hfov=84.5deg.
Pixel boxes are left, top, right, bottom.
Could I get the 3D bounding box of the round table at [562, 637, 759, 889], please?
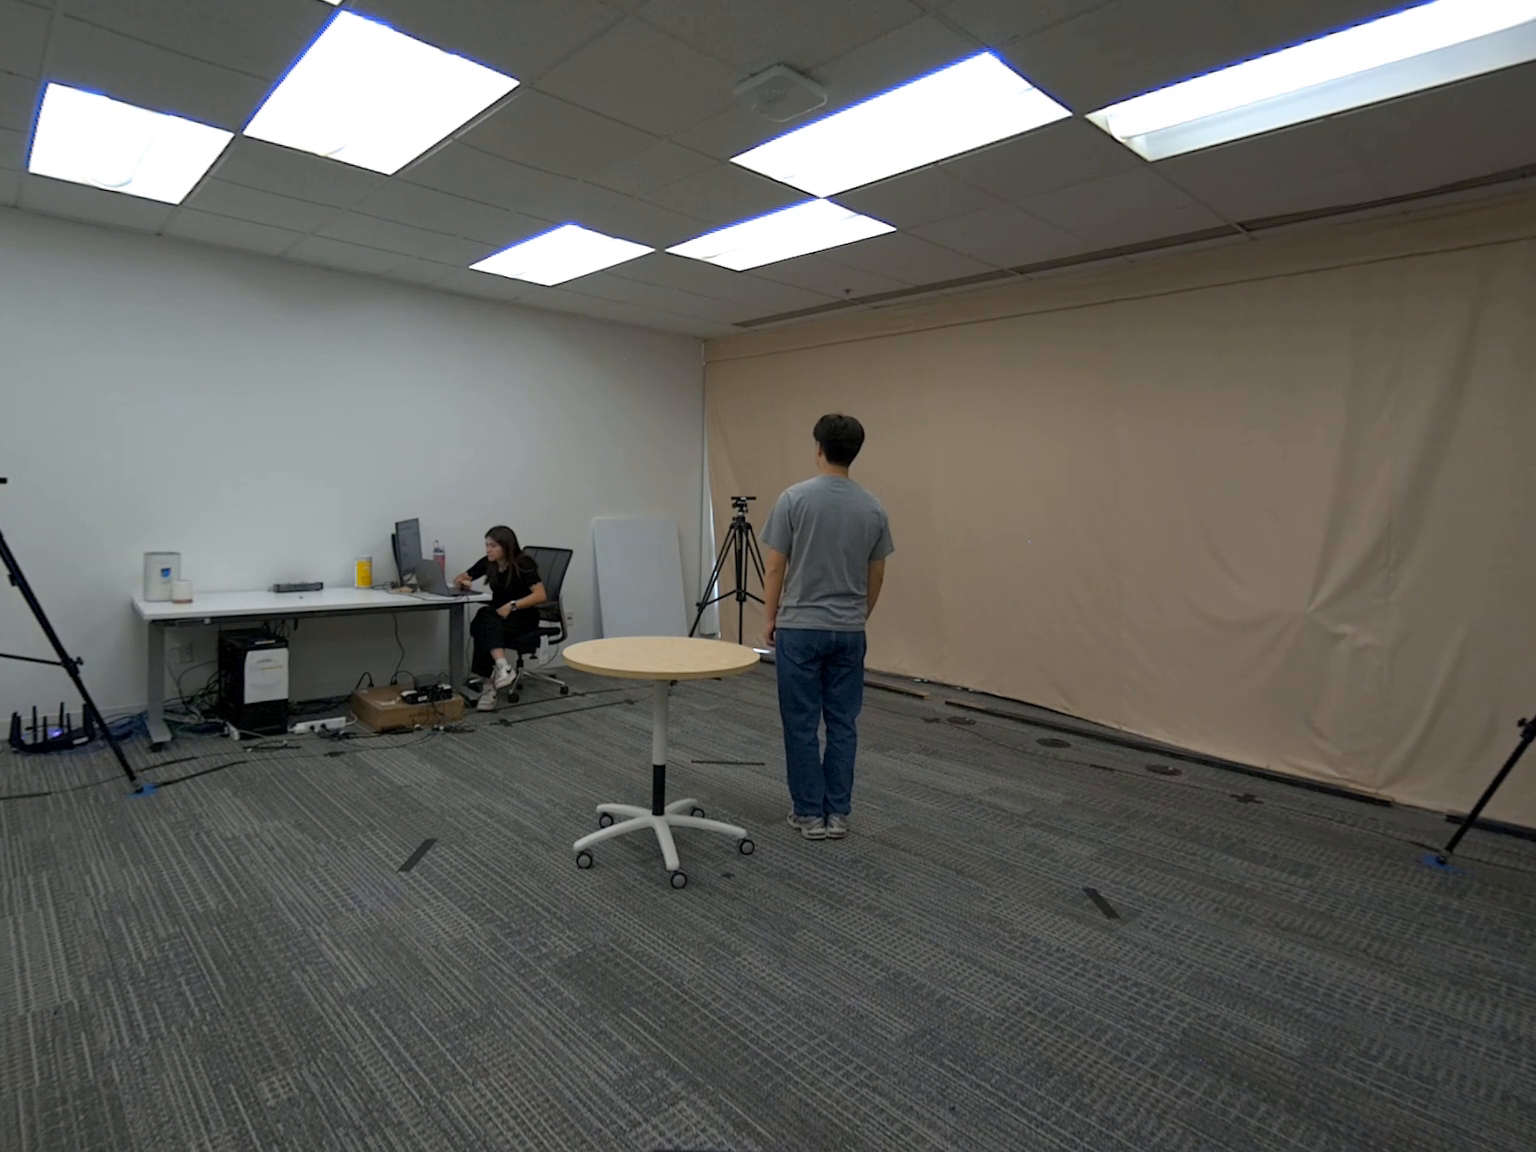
[{"bbox_3d":[-0.425,0.693,3.302,0.763,0.792,0.766,1,4,-1],"label":"round table"}]
